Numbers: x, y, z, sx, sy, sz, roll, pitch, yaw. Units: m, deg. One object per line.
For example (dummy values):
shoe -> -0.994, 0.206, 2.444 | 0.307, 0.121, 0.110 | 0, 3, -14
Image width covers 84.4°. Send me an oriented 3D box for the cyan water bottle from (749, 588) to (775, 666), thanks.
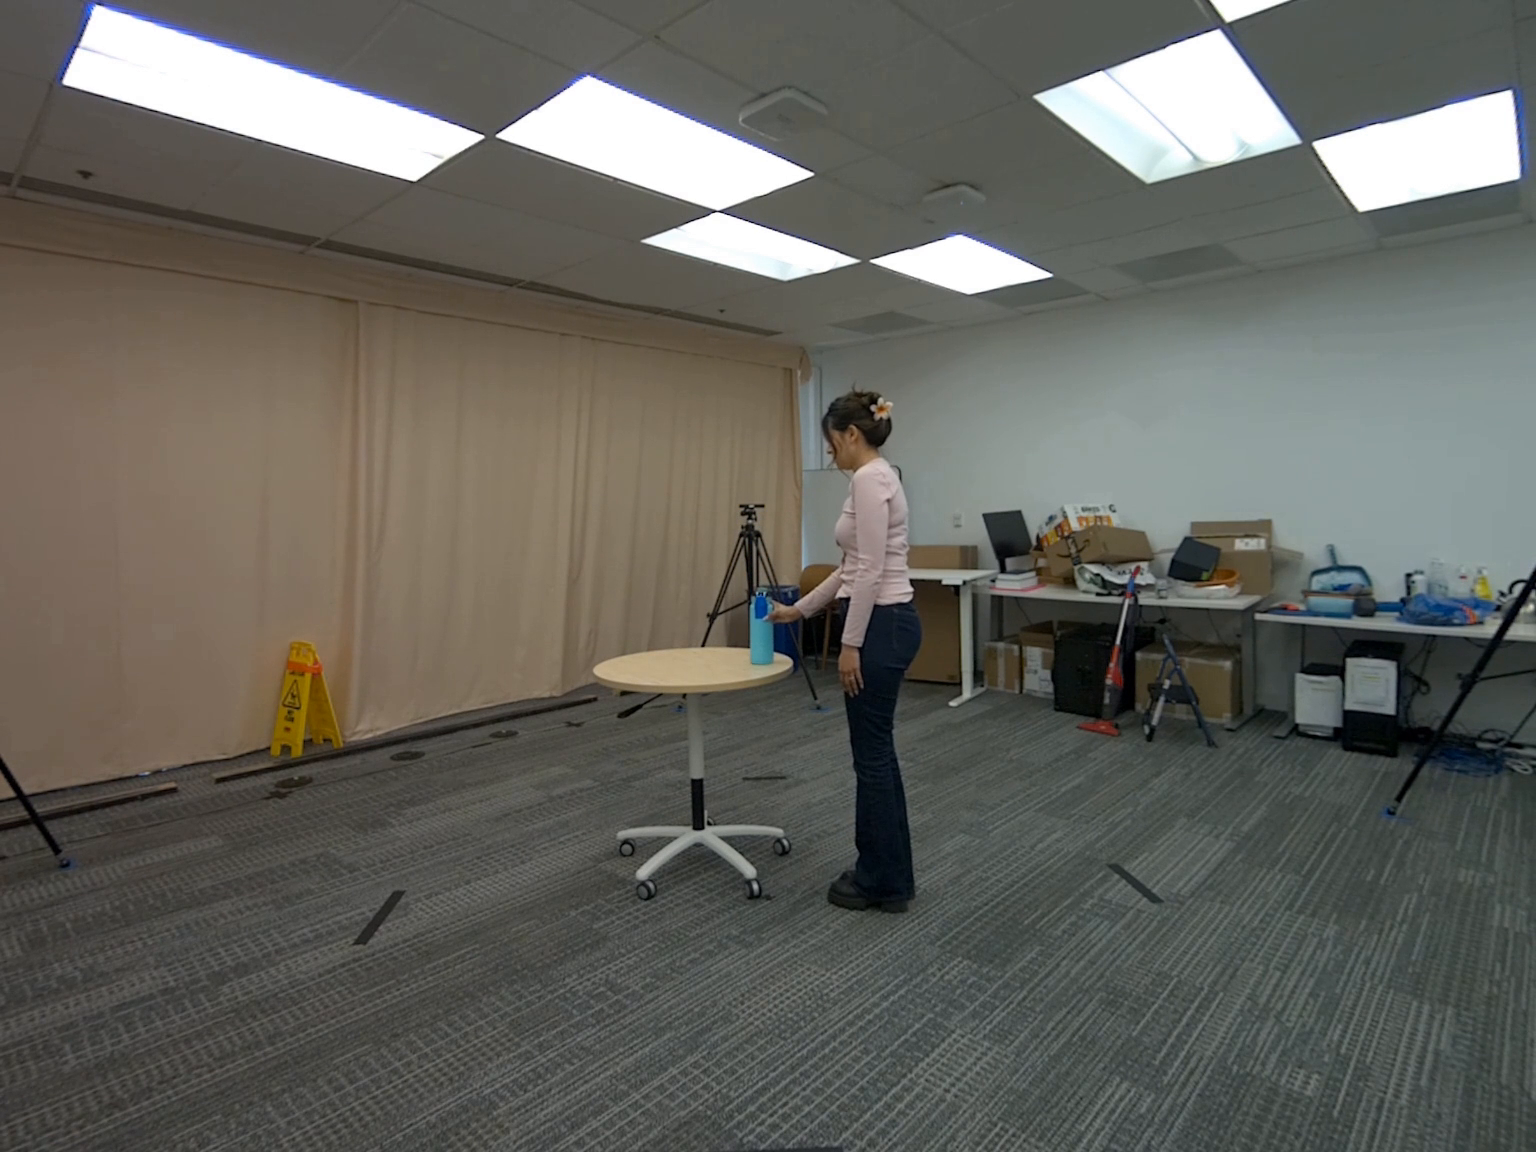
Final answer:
cyan water bottle -> -0.020, 0.194, 3.214 | 0.092, 0.282, 0.093 | 2, 6, -2
